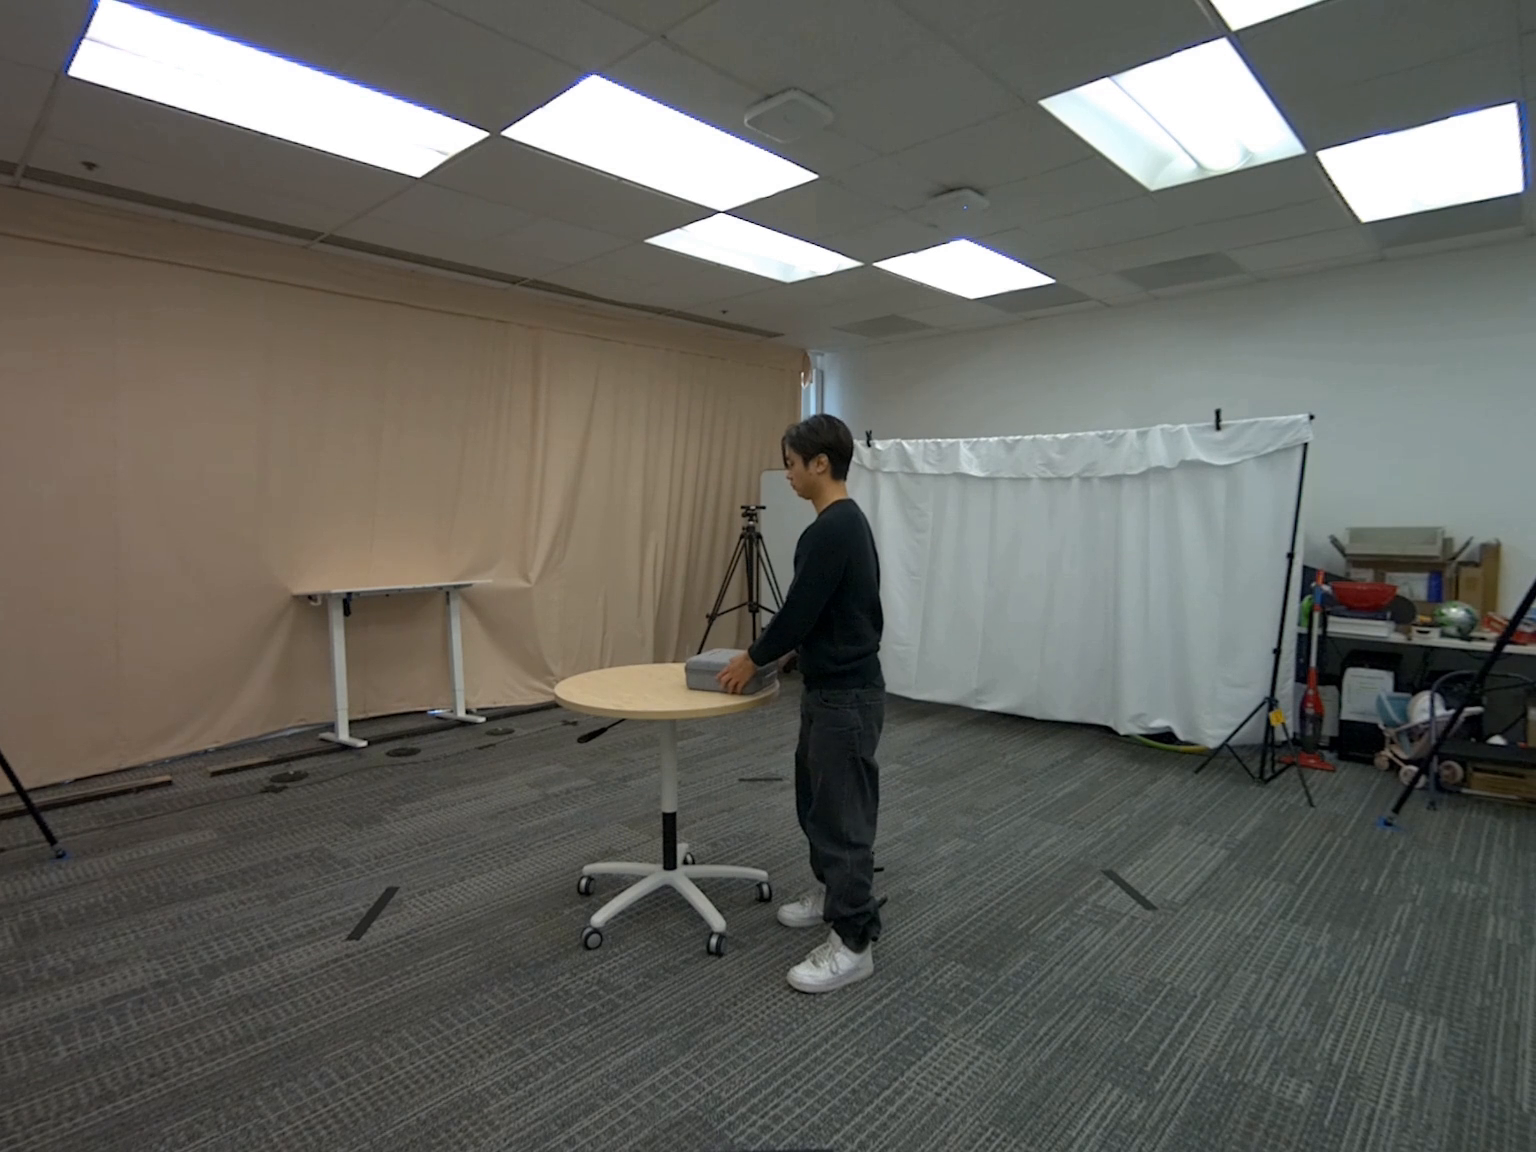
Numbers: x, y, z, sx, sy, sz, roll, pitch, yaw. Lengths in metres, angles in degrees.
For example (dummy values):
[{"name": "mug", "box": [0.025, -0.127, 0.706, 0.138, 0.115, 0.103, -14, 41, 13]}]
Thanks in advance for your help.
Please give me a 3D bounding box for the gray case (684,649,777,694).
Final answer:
[{"name": "gray case", "box": [-0.123, 0.321, 2.853, 0.266, 0.104, 0.252, 2, 5, 21]}]
